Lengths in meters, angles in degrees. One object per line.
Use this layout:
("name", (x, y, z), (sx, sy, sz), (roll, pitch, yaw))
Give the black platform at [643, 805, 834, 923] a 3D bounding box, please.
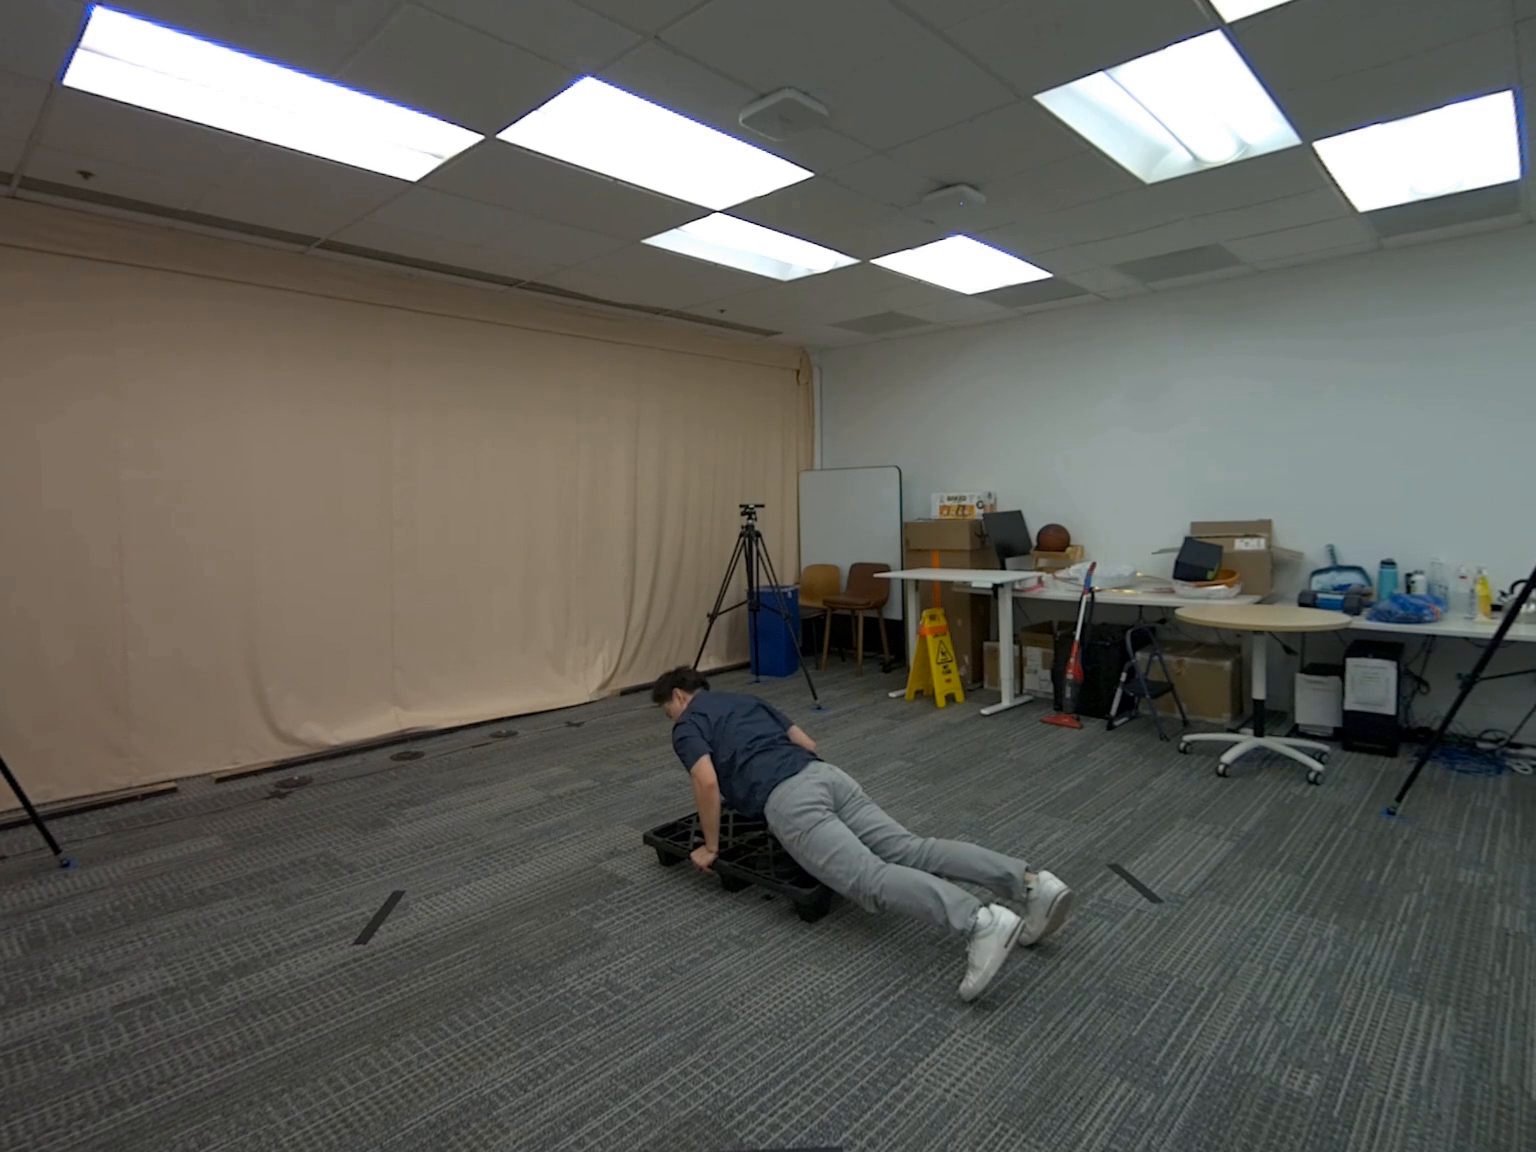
("black platform", (0.008, 1.055, 3.210), (0.832, 0.143, 0.587), (4, 7, 41))
